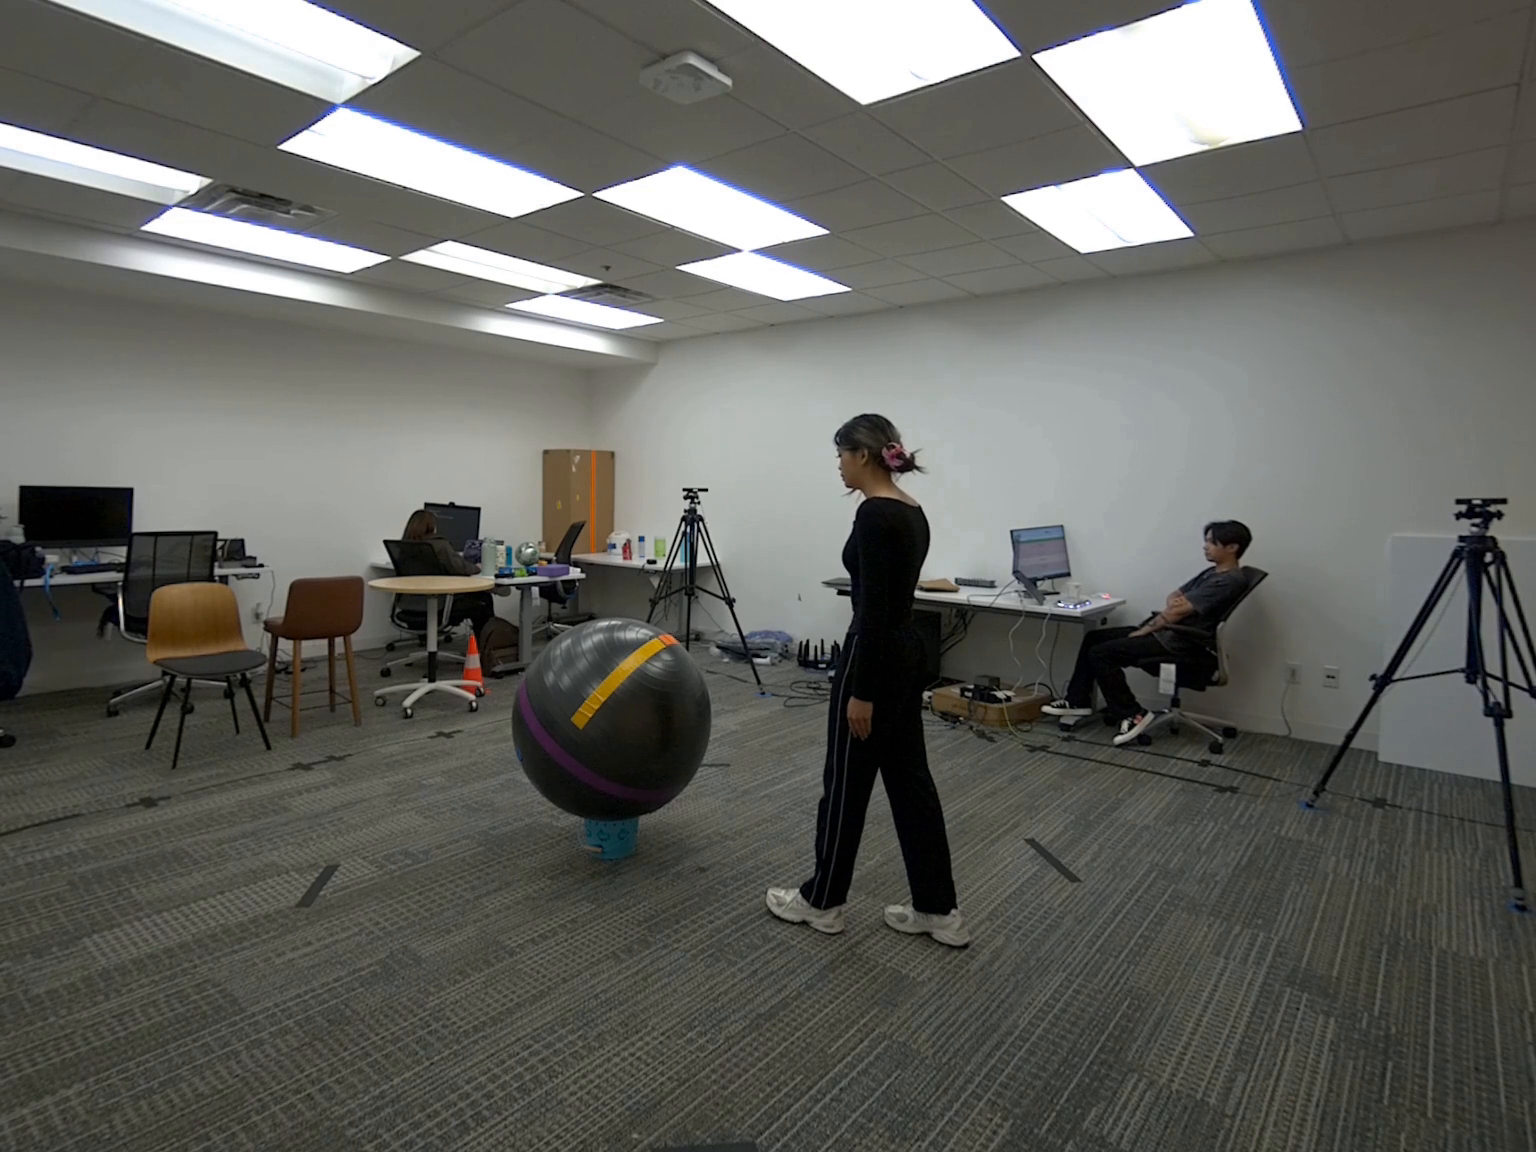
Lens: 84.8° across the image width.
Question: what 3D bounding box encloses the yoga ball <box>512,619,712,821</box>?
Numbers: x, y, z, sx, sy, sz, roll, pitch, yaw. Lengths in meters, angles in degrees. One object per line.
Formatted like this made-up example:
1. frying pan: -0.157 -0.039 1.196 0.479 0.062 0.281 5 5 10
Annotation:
1. yoga ball: -0.606 0.544 3.250 0.757 0.755 0.762 1 4 -2
